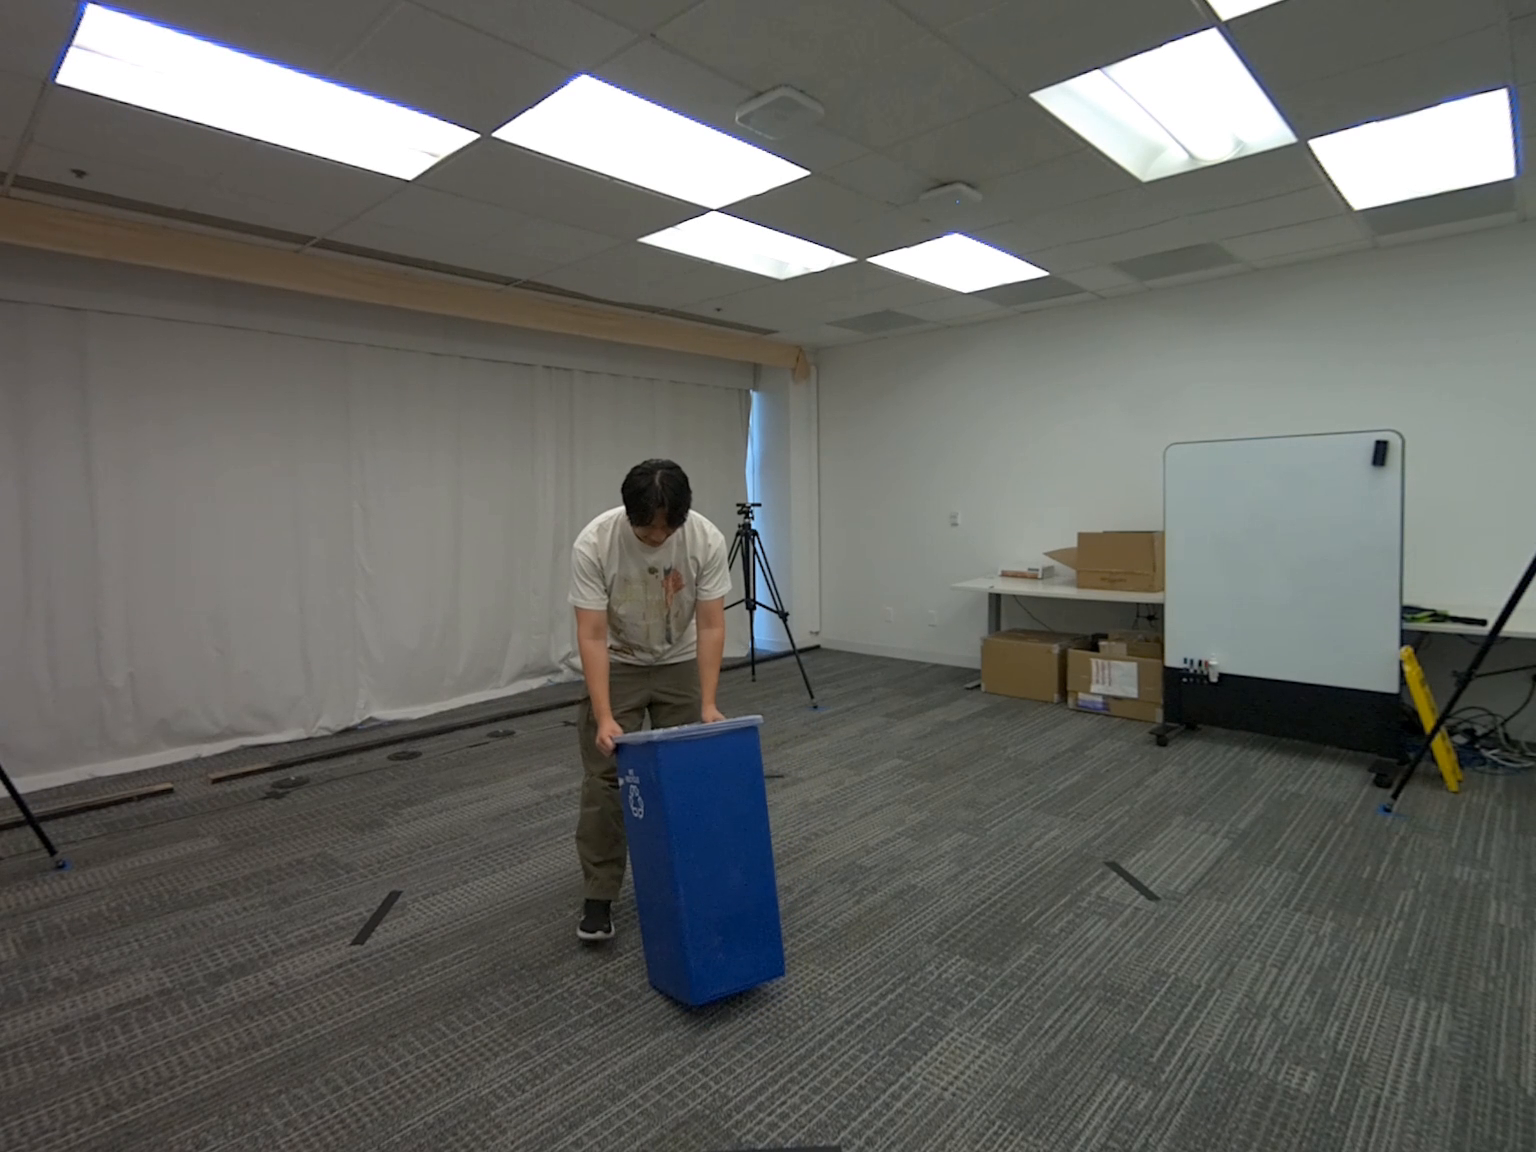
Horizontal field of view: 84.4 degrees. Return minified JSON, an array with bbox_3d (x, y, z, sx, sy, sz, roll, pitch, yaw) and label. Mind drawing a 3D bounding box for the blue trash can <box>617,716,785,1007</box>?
[{"bbox_3d":[-0.191,0.800,2.462,0.368,0.720,0.381,-3,-12,-31],"label":"blue trash can"}]
